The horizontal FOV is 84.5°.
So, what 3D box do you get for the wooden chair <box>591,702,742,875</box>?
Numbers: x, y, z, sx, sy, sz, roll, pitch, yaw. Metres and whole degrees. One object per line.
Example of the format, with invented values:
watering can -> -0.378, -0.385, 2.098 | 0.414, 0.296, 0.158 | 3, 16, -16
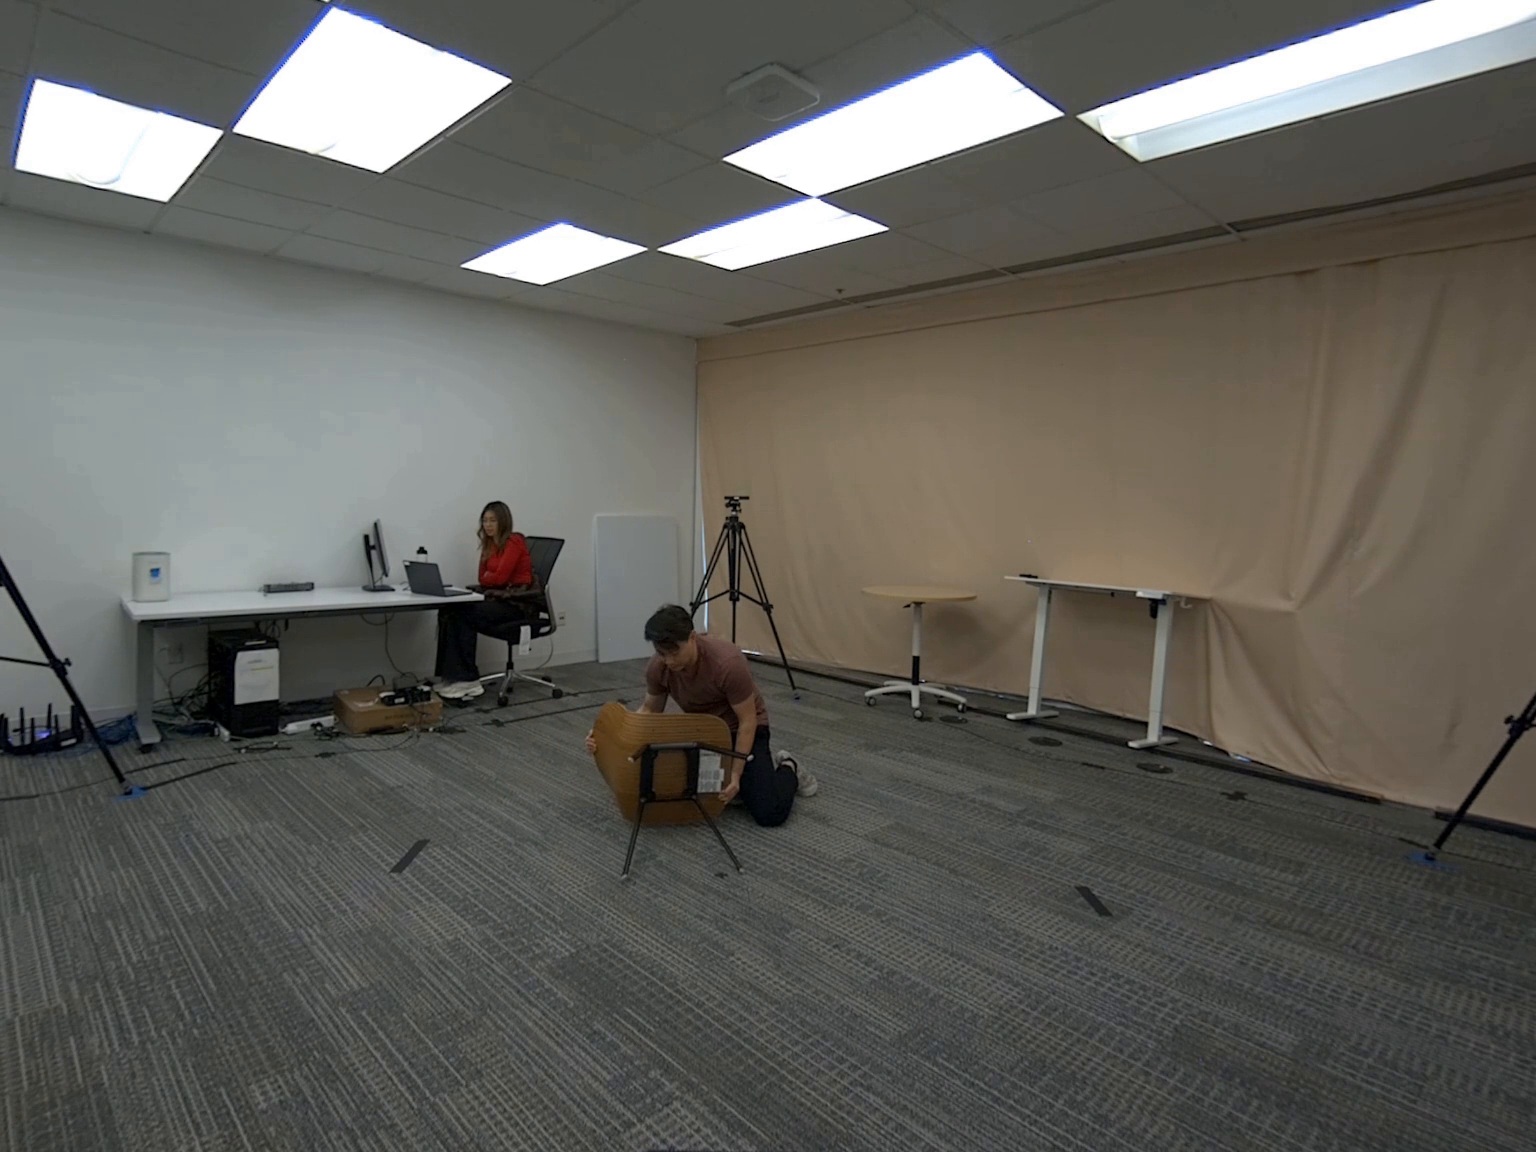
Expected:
wooden chair -> -0.407, 0.818, 3.457 | 0.515, 0.476, 0.894 | 1, 7, -20
